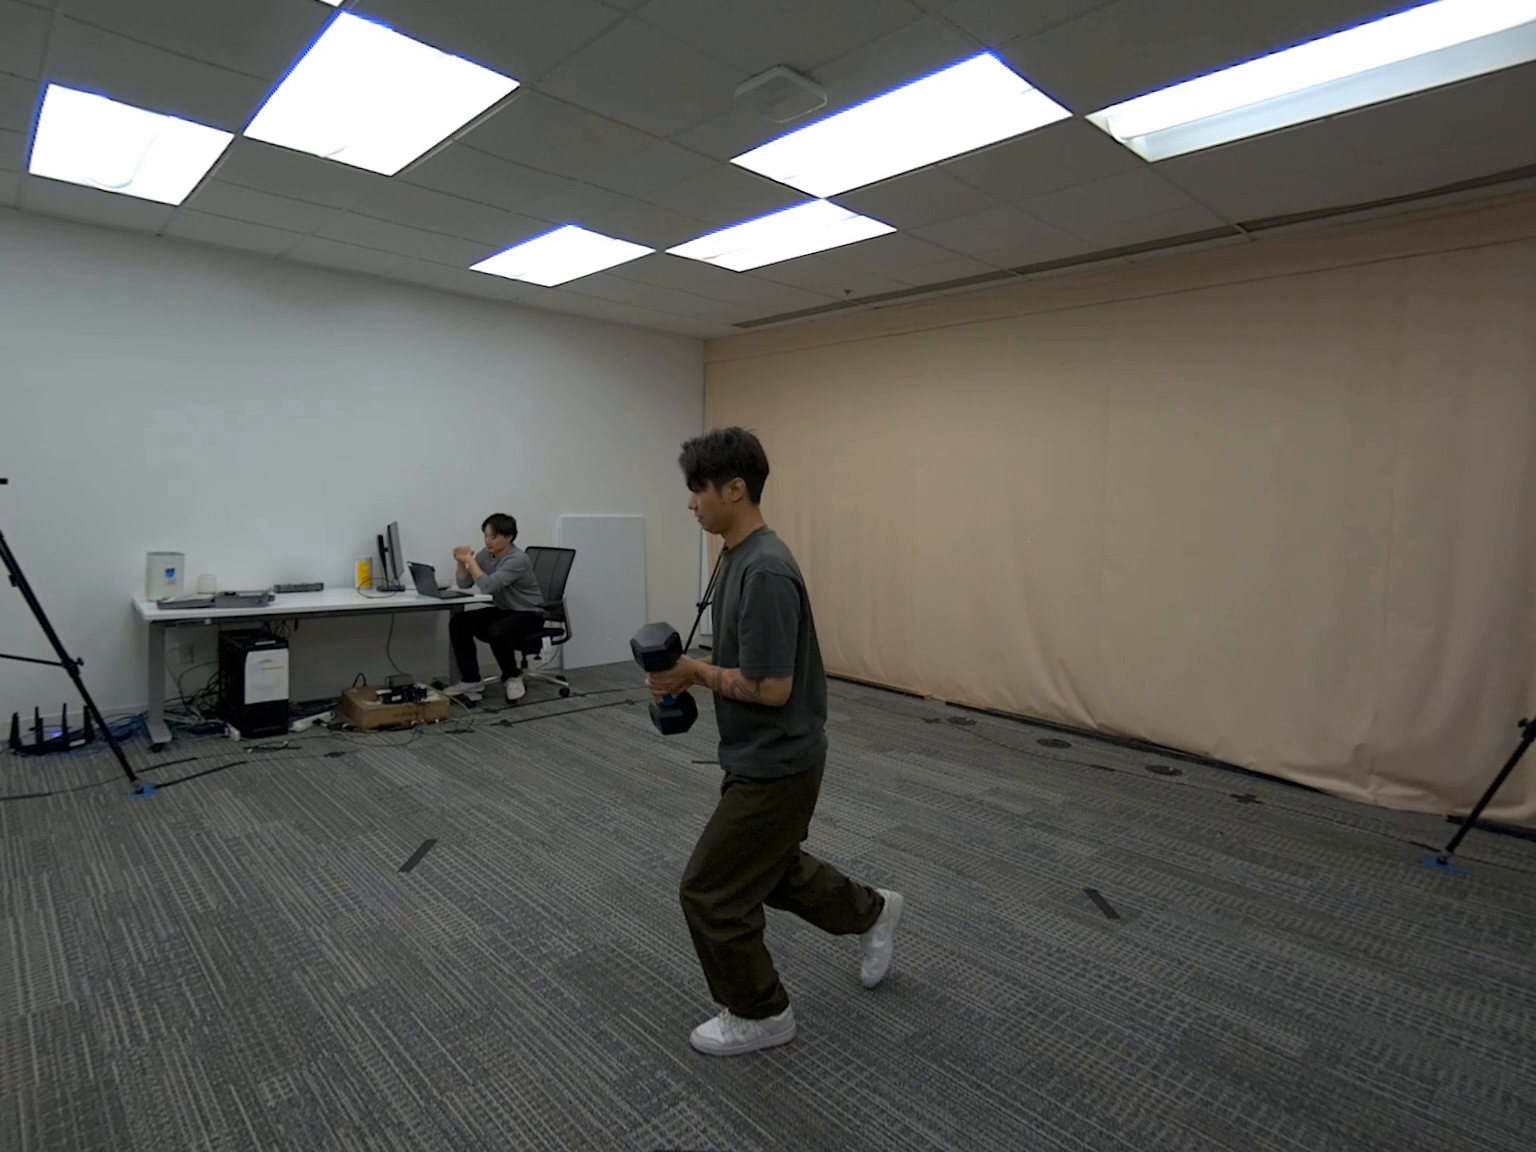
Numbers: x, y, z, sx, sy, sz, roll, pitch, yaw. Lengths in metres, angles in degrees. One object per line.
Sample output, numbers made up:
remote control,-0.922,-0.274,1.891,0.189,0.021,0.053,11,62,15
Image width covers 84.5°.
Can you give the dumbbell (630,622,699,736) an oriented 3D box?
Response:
dumbbell,-0.265,0.255,2.121,0.111,0.287,0.123,8,36,25
